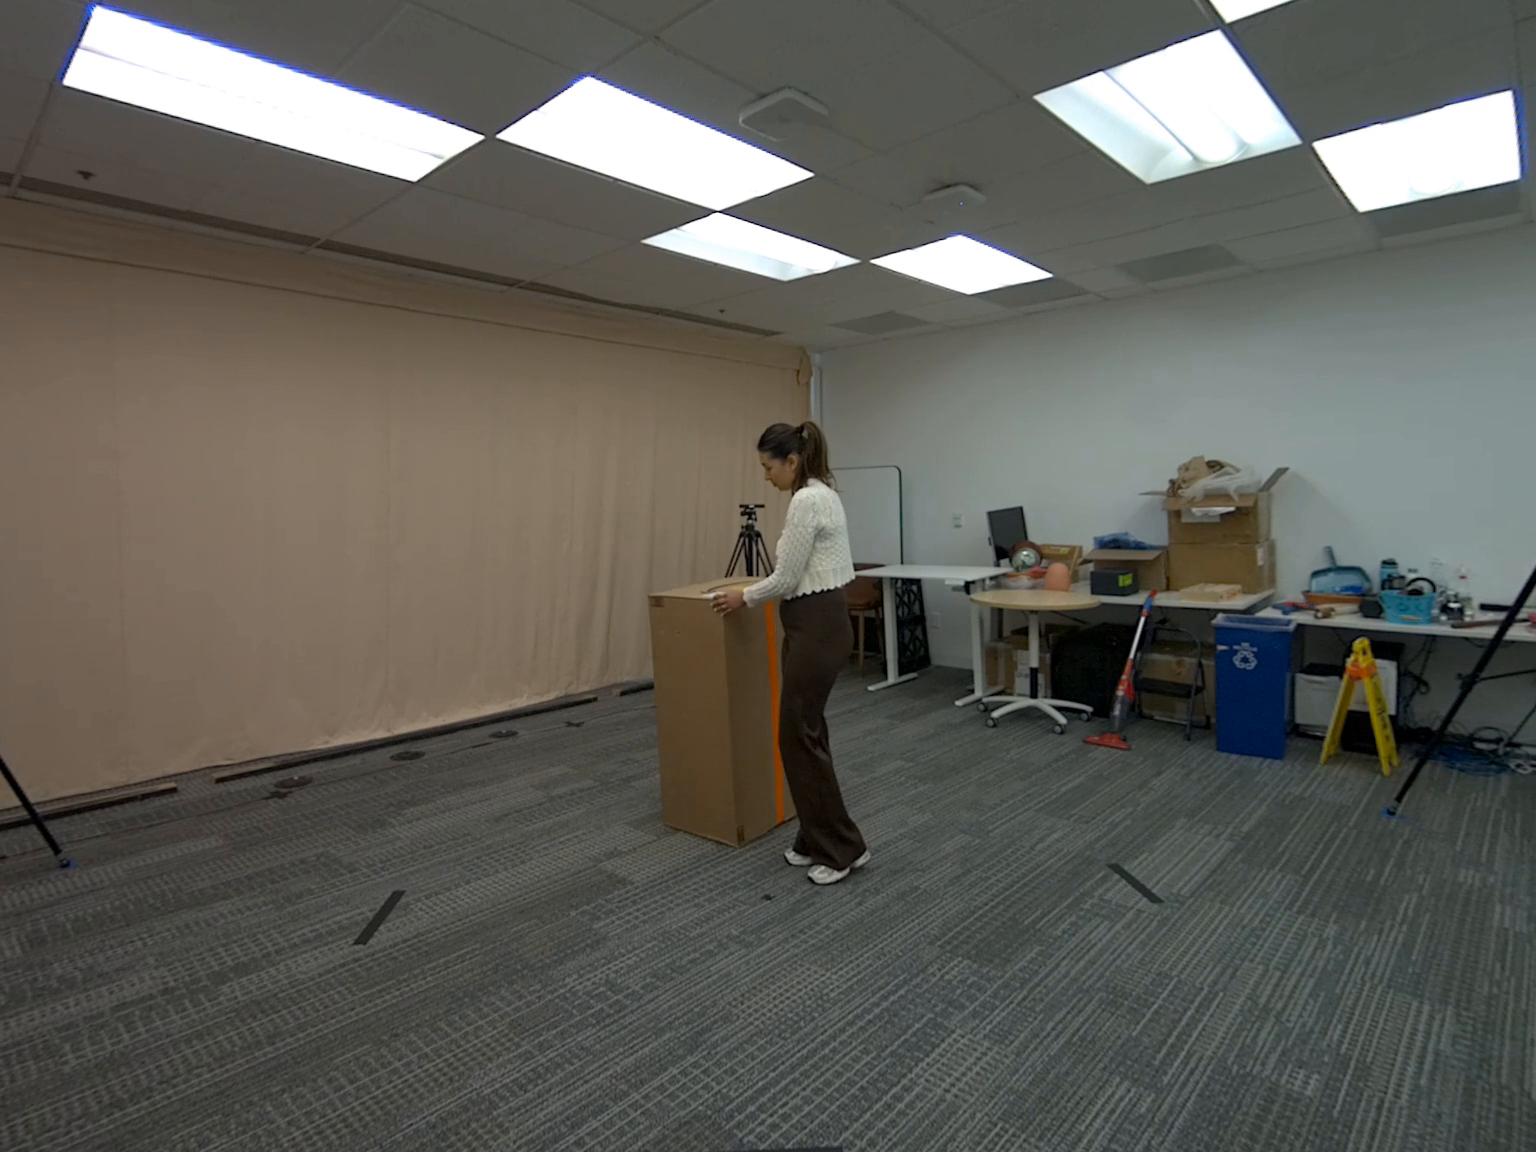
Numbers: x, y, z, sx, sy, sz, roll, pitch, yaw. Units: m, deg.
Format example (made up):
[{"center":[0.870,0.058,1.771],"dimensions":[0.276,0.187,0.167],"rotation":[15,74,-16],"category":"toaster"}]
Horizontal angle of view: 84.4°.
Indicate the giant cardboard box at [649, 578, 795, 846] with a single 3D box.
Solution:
[{"center":[-0.150,0.556,3.716],"dimensions":[0.440,1.022,0.561],"rotation":[1,7,38],"category":"giant cardboard box"}]
